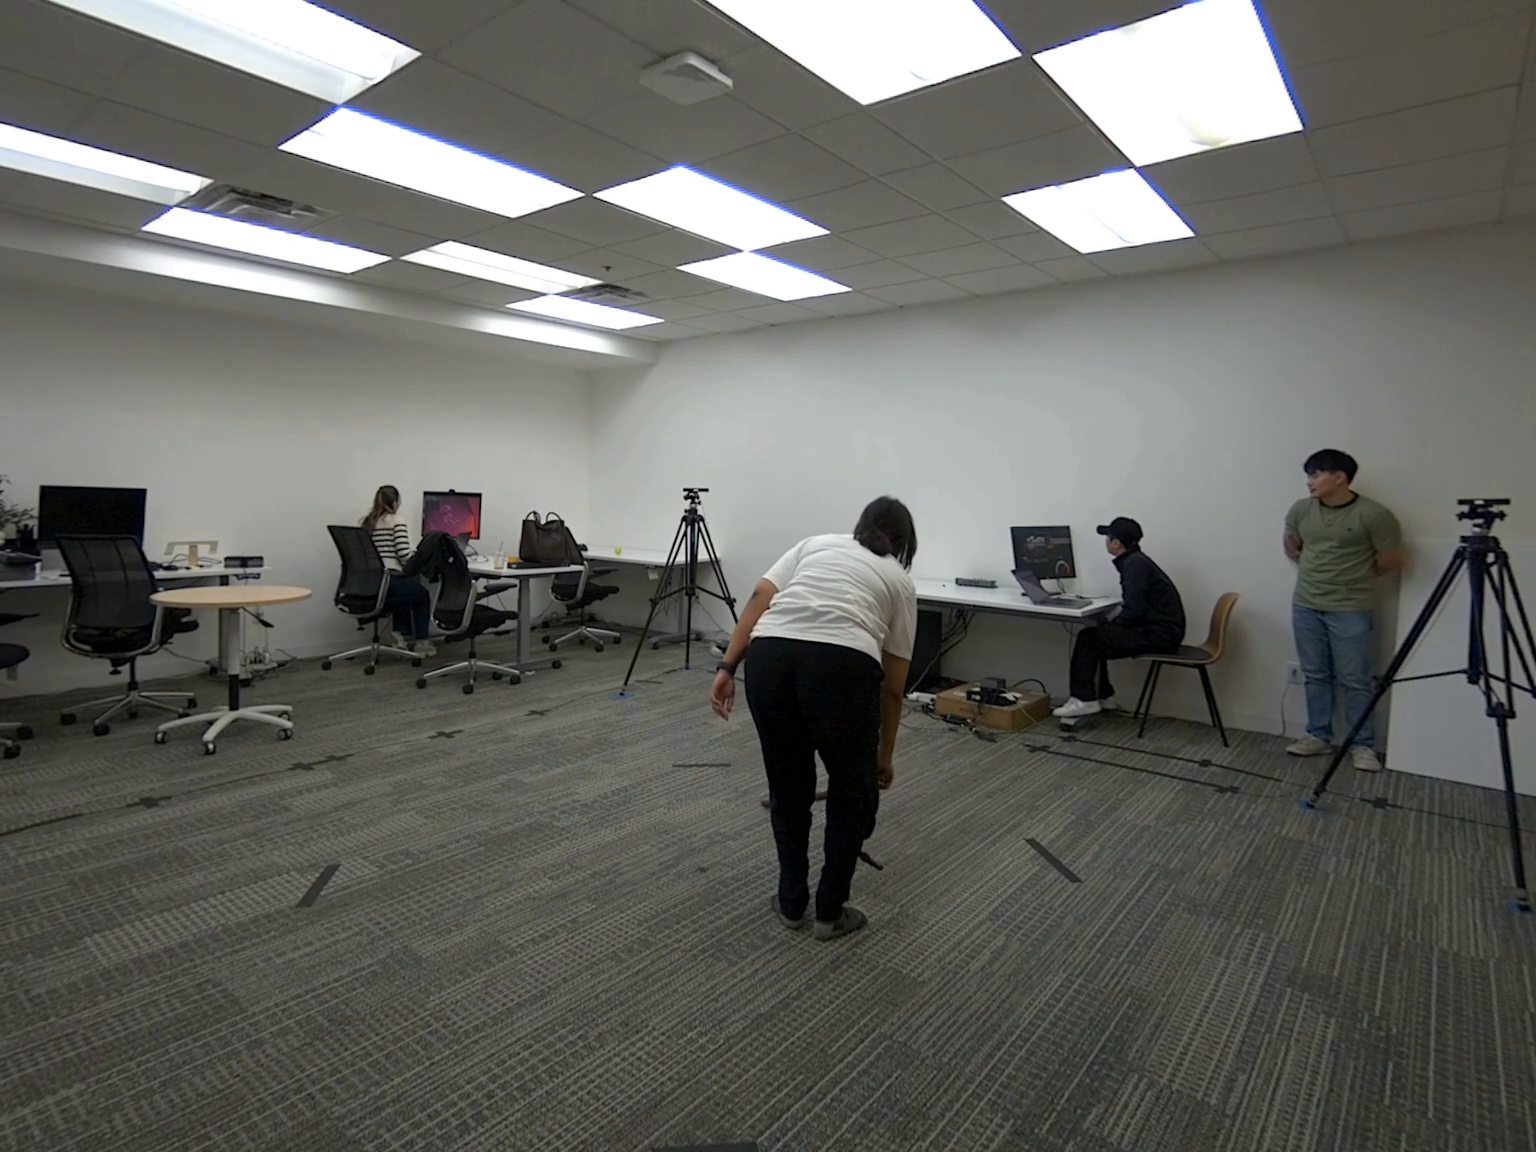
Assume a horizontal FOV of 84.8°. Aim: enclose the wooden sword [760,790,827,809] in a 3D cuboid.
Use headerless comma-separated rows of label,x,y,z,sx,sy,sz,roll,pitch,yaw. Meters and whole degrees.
wooden sword,0.155,0.848,3.323,0.024,0.052,1.028,-27,-6,-30
